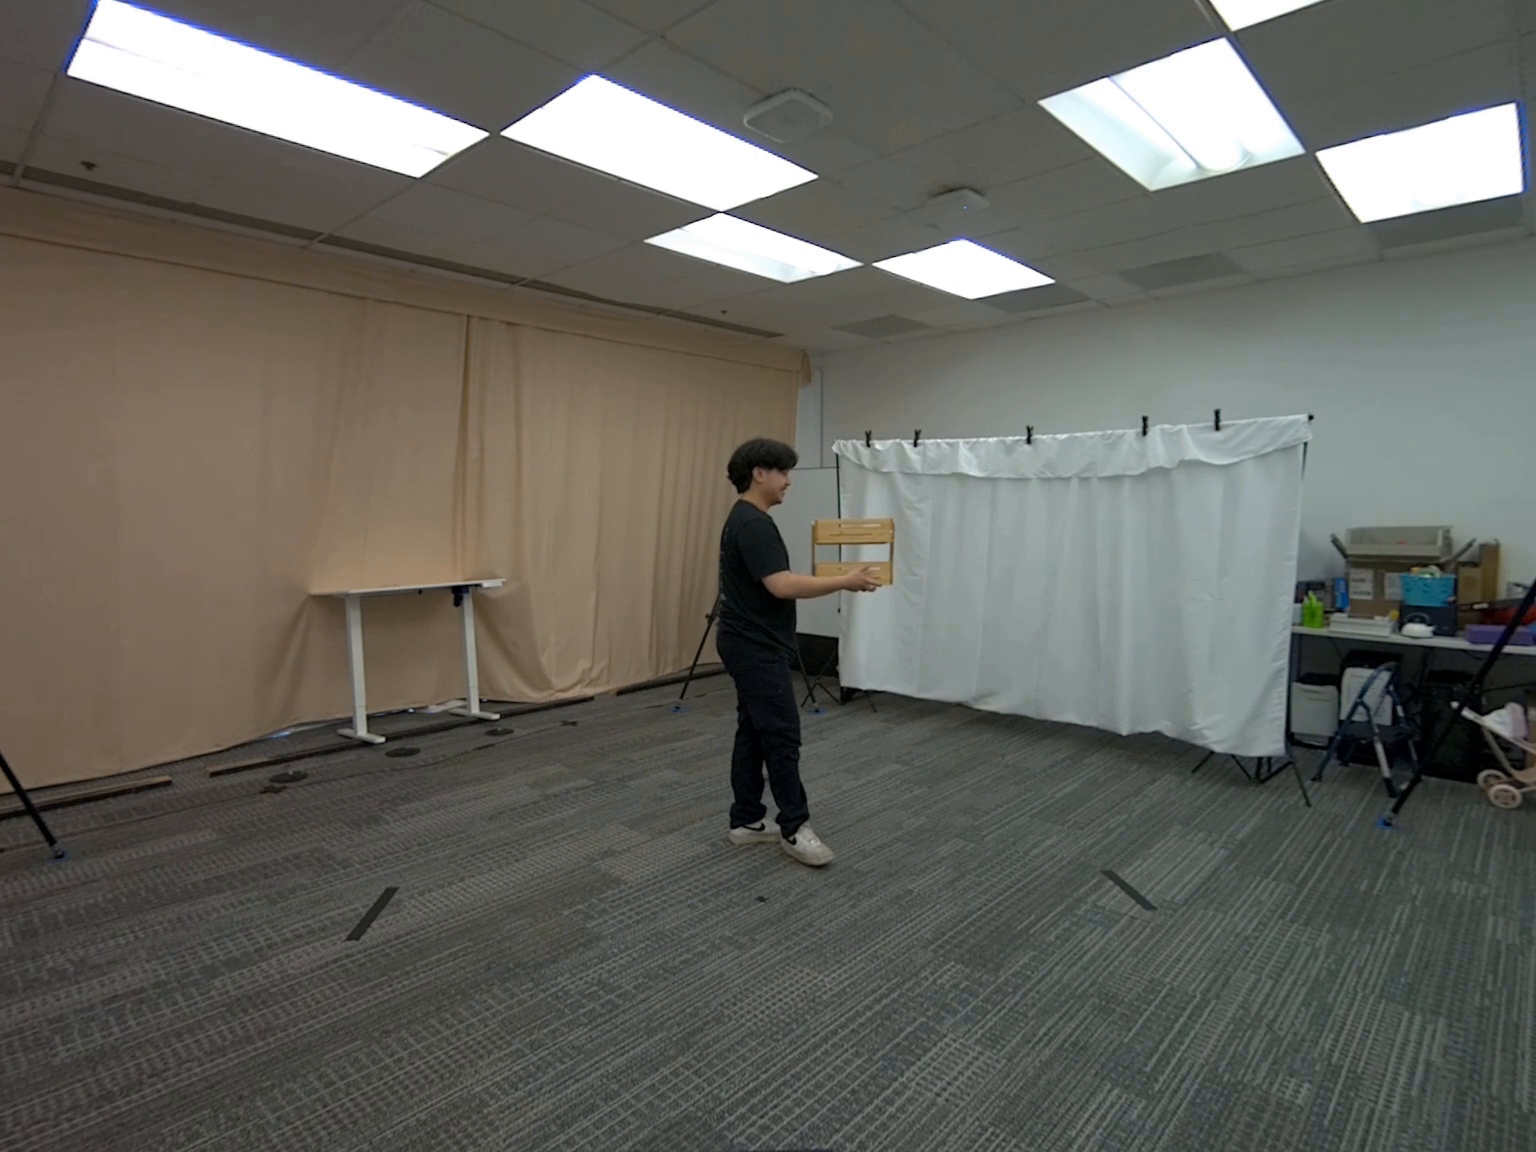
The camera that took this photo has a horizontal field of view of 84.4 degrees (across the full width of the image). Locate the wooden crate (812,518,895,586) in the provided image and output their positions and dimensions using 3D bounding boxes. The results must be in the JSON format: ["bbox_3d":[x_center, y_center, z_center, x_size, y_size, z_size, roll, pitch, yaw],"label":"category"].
[{"bbox_3d":[0.351,-0.092,3.422,0.326,0.273,0.300,-2,-1,5],"label":"wooden crate"}]
